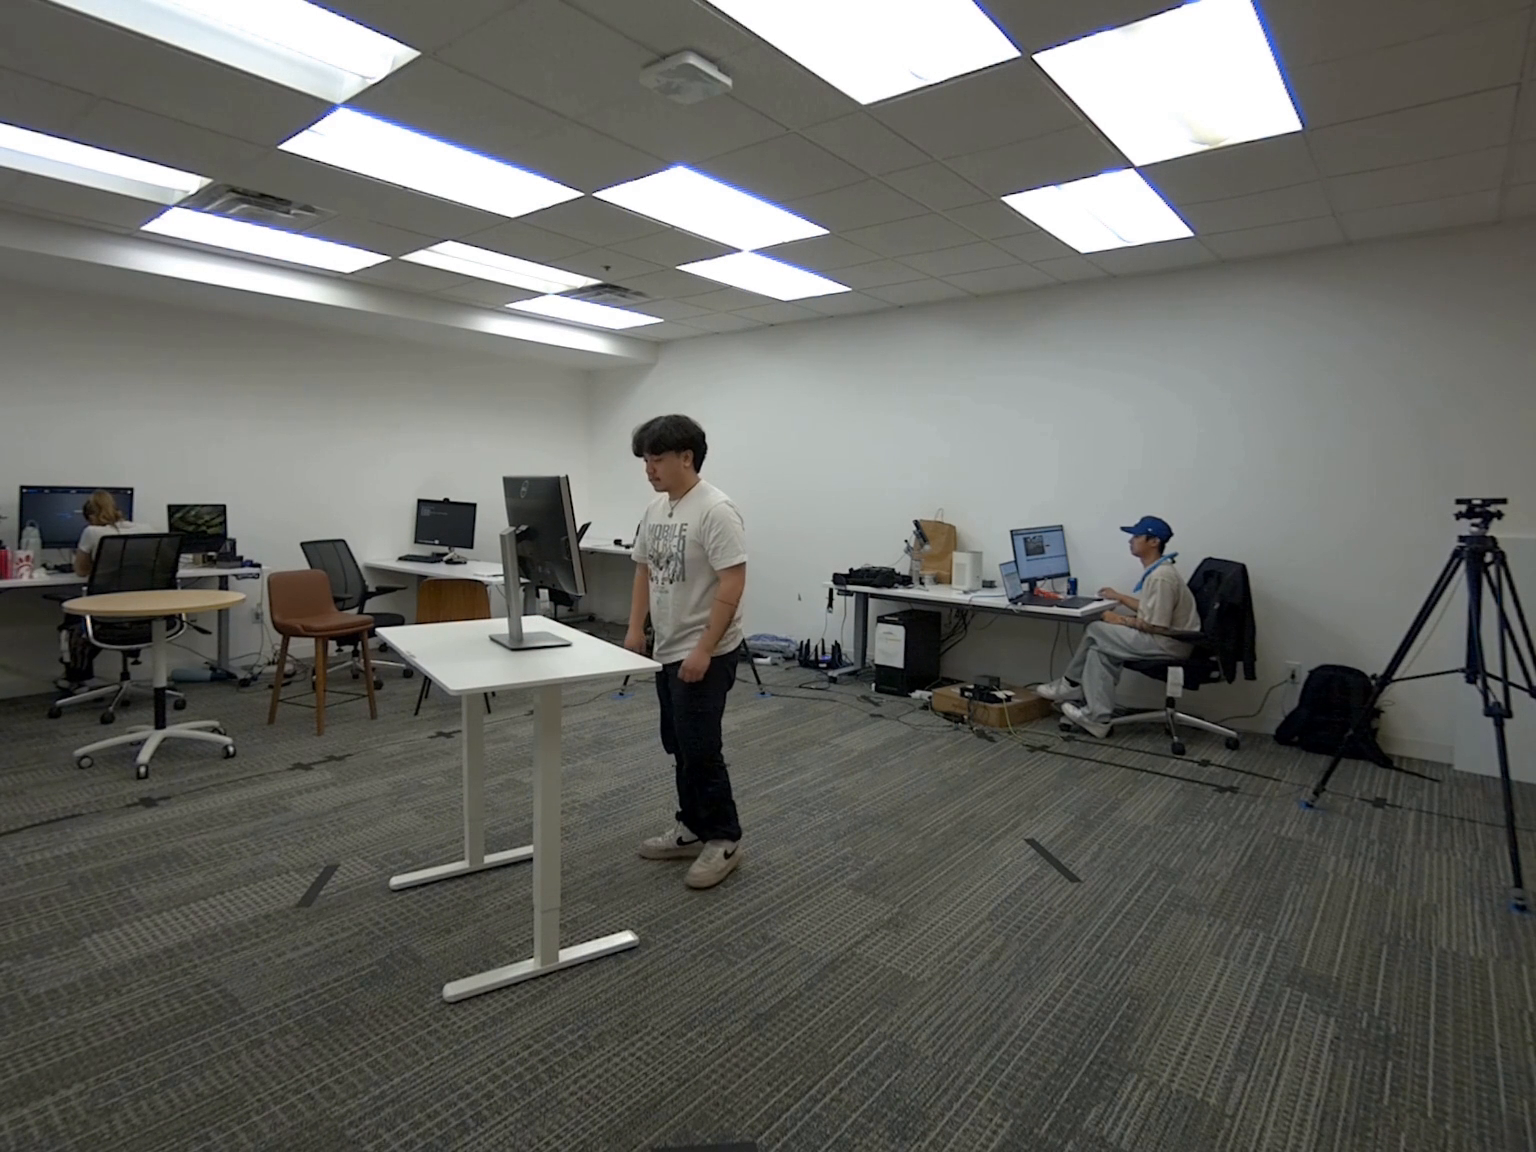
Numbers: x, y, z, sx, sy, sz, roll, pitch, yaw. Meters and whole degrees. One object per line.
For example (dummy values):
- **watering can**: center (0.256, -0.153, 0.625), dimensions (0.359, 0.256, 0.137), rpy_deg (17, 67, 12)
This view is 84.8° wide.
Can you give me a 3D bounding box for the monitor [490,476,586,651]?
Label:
- **monitor**: center (-0.796, -0.049, 2.716), dimensions (0.205, 0.550, 0.584), rpy_deg (-6, 8, -34)
